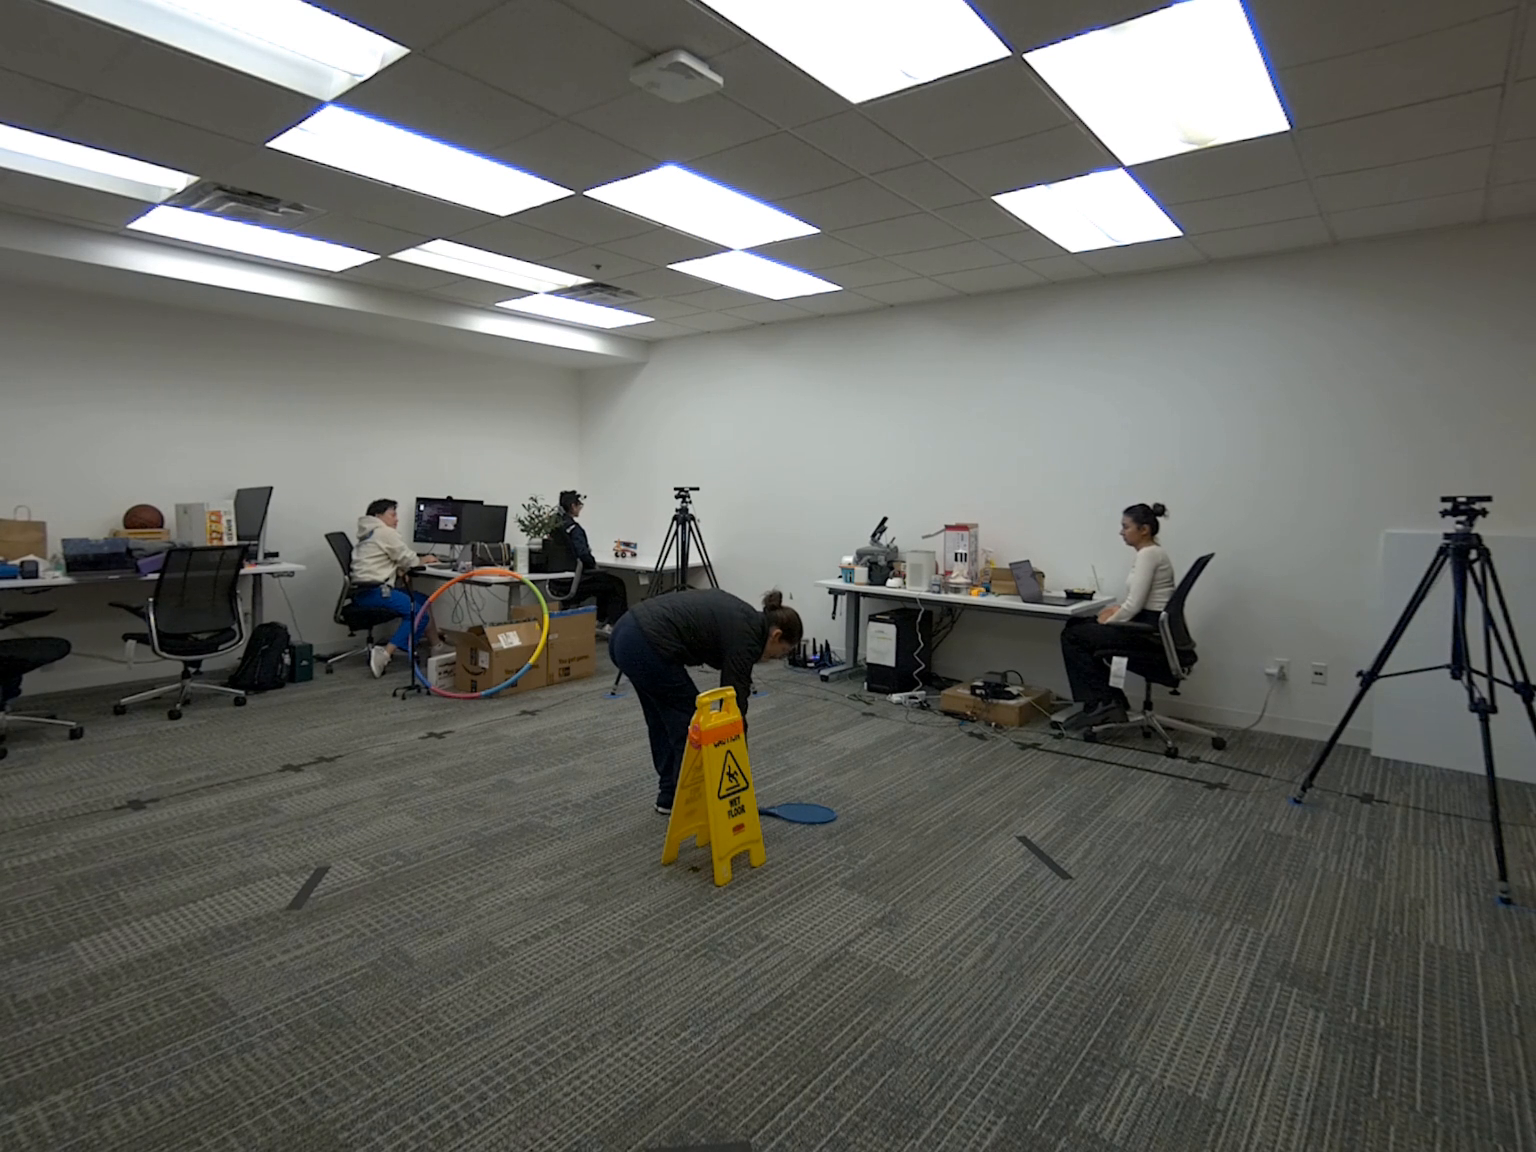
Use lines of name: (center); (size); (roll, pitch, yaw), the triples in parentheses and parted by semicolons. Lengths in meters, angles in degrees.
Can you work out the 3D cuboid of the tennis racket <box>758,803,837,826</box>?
tennis racket: (0.095, 1.002, 3.648); (0.433, 0.031, 0.215); (2, 7, -1)
